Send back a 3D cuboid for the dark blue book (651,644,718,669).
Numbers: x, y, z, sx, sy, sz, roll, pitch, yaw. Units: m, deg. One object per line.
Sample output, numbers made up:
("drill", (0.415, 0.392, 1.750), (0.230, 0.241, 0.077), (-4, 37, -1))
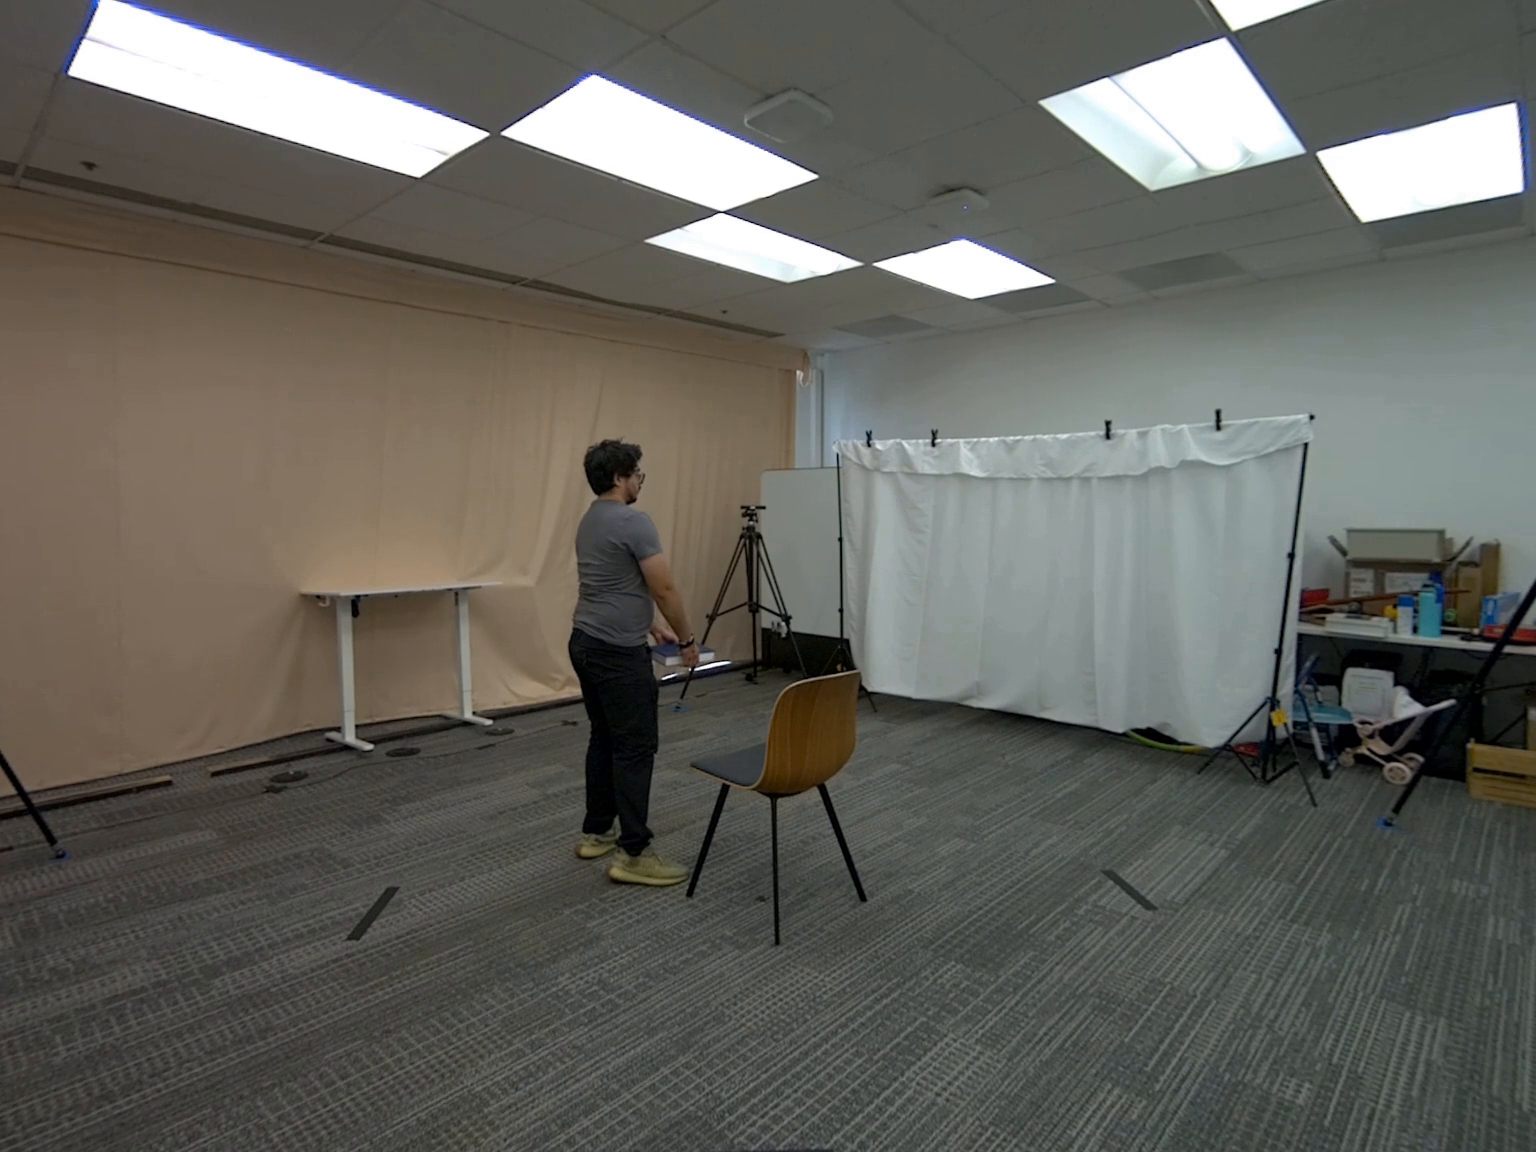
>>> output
("dark blue book", (-0.361, 0.323, 3.494), (0.238, 0.045, 0.169), (-3, 13, -36))
